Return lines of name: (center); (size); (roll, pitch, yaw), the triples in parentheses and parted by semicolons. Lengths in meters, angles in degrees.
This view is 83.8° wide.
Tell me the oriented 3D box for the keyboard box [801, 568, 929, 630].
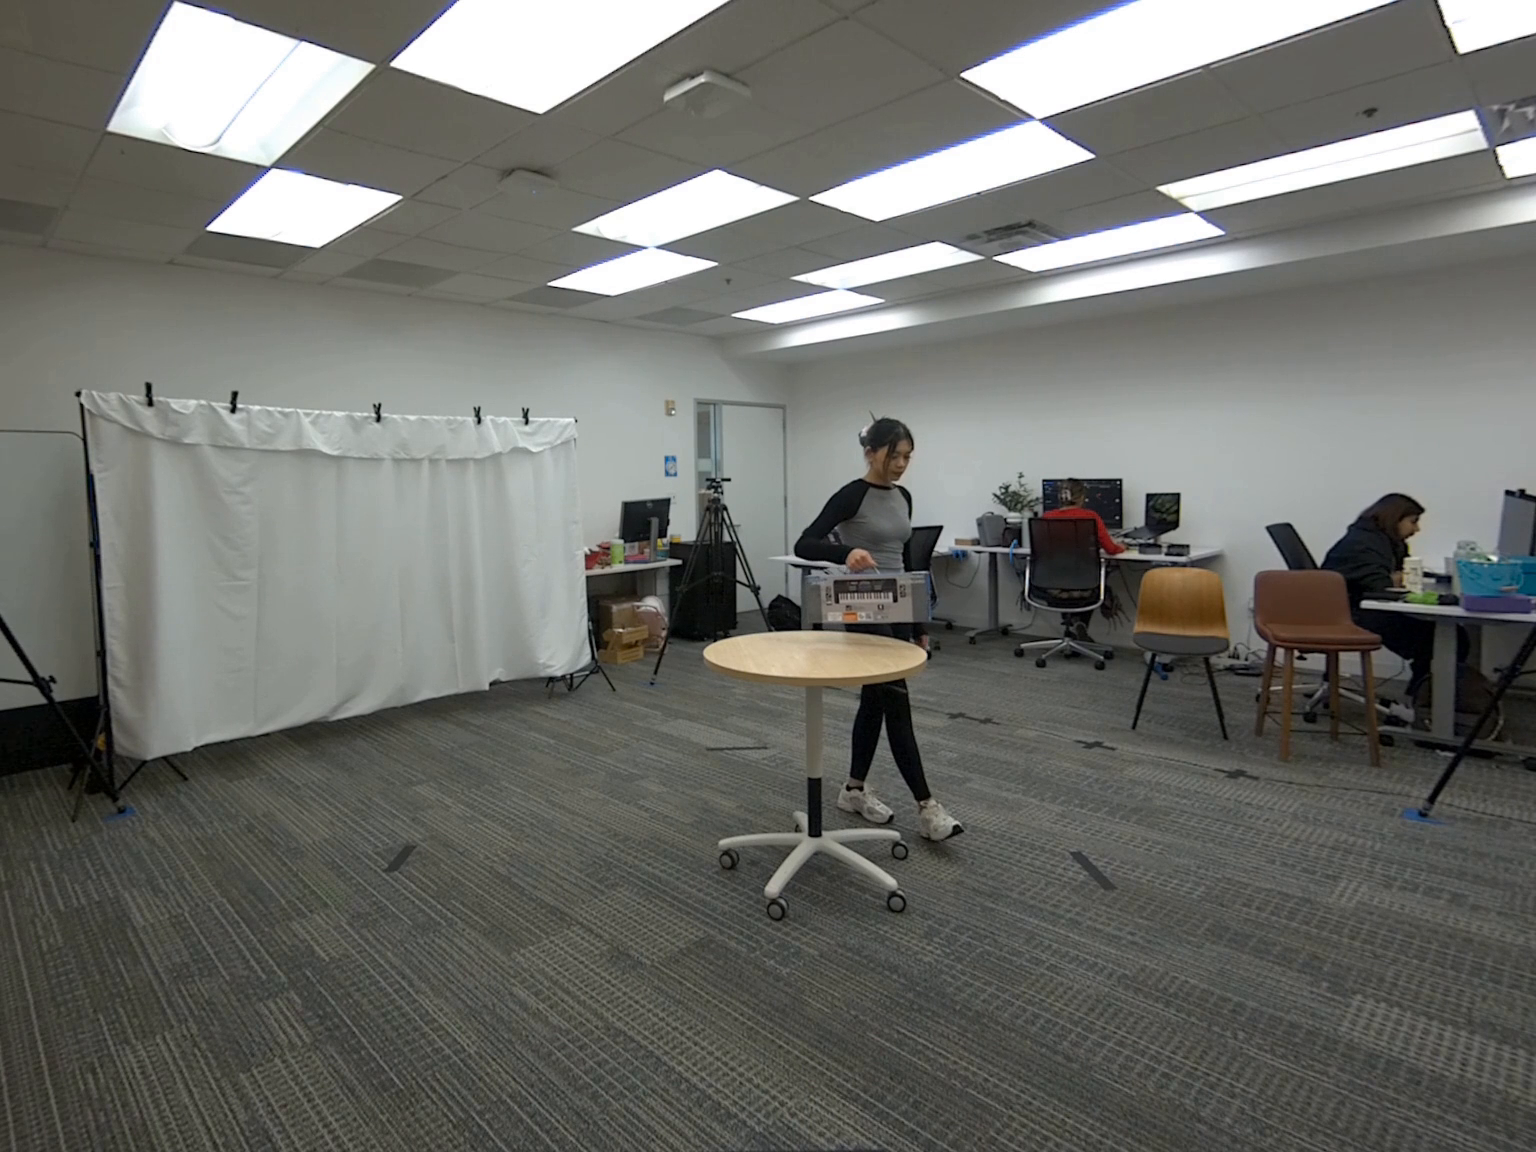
keyboard box: (0.364, 0.079, 3.055); (0.445, 0.176, 0.058); (-3, 2, 21)
